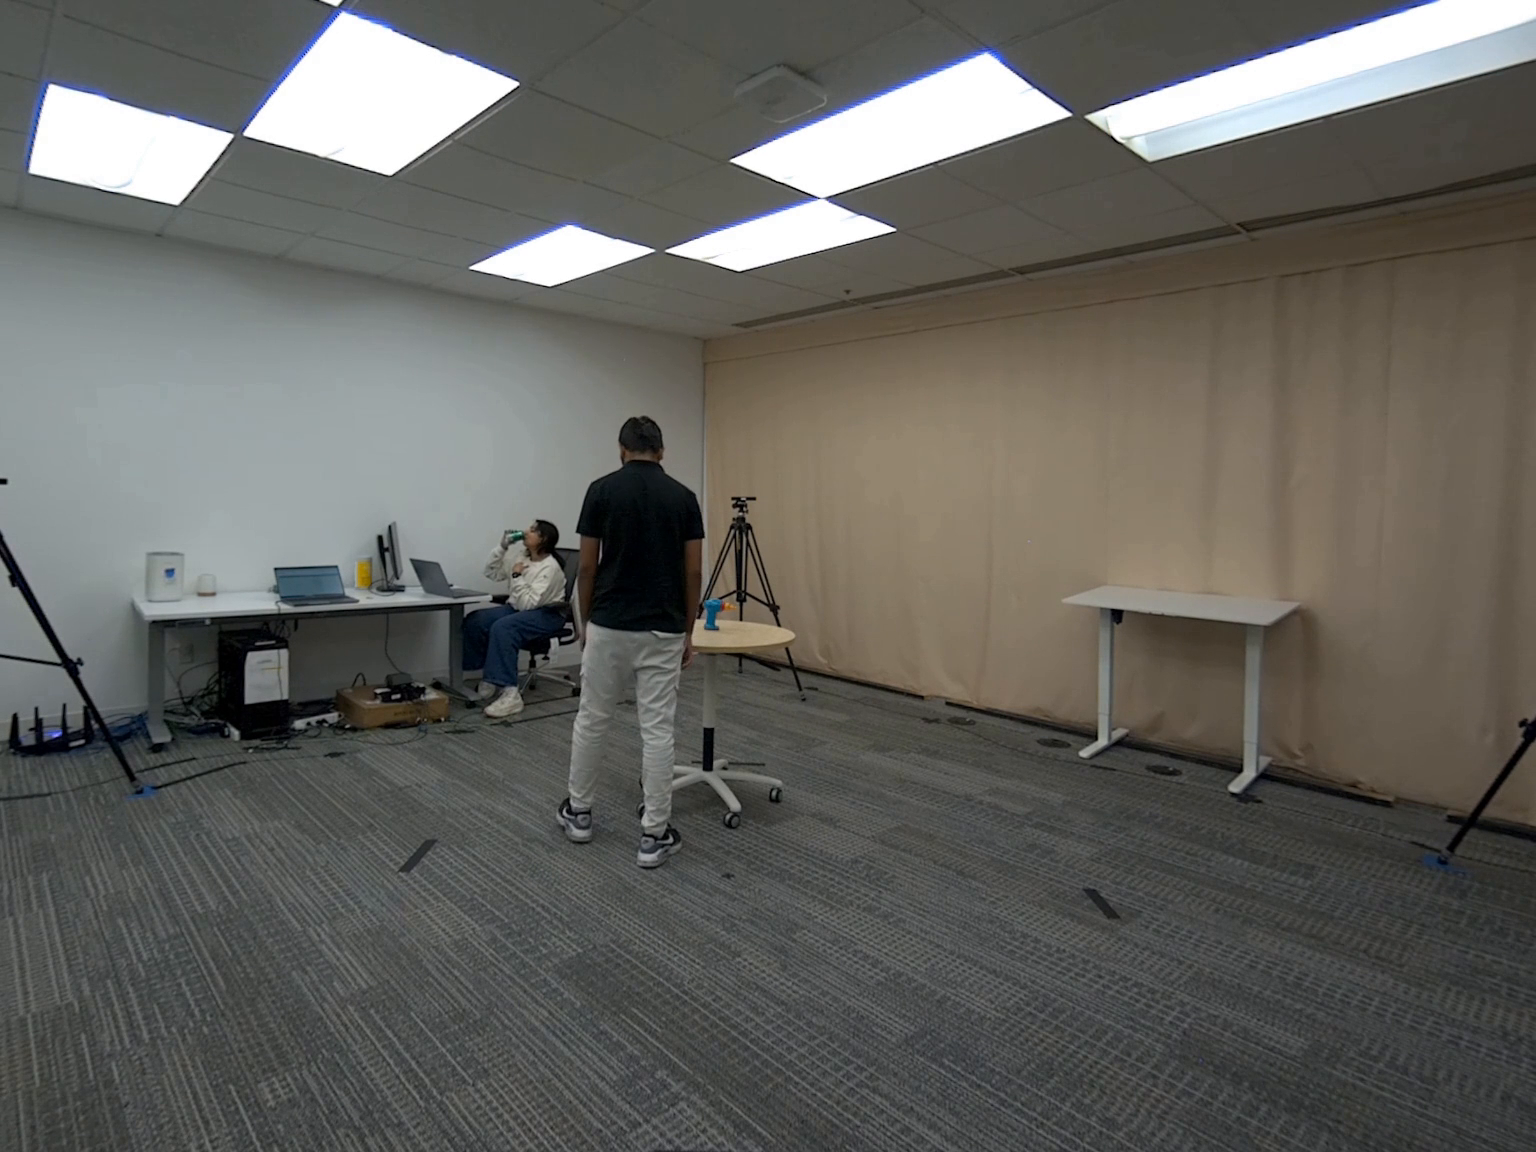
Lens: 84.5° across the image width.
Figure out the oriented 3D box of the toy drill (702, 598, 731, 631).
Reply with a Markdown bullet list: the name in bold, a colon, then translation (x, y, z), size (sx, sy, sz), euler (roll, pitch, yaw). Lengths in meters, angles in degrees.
- **toy drill**: translation (-0.237, 0.179, 3.912), size (0.172, 0.146, 0.060), euler (2, 3, 13)
